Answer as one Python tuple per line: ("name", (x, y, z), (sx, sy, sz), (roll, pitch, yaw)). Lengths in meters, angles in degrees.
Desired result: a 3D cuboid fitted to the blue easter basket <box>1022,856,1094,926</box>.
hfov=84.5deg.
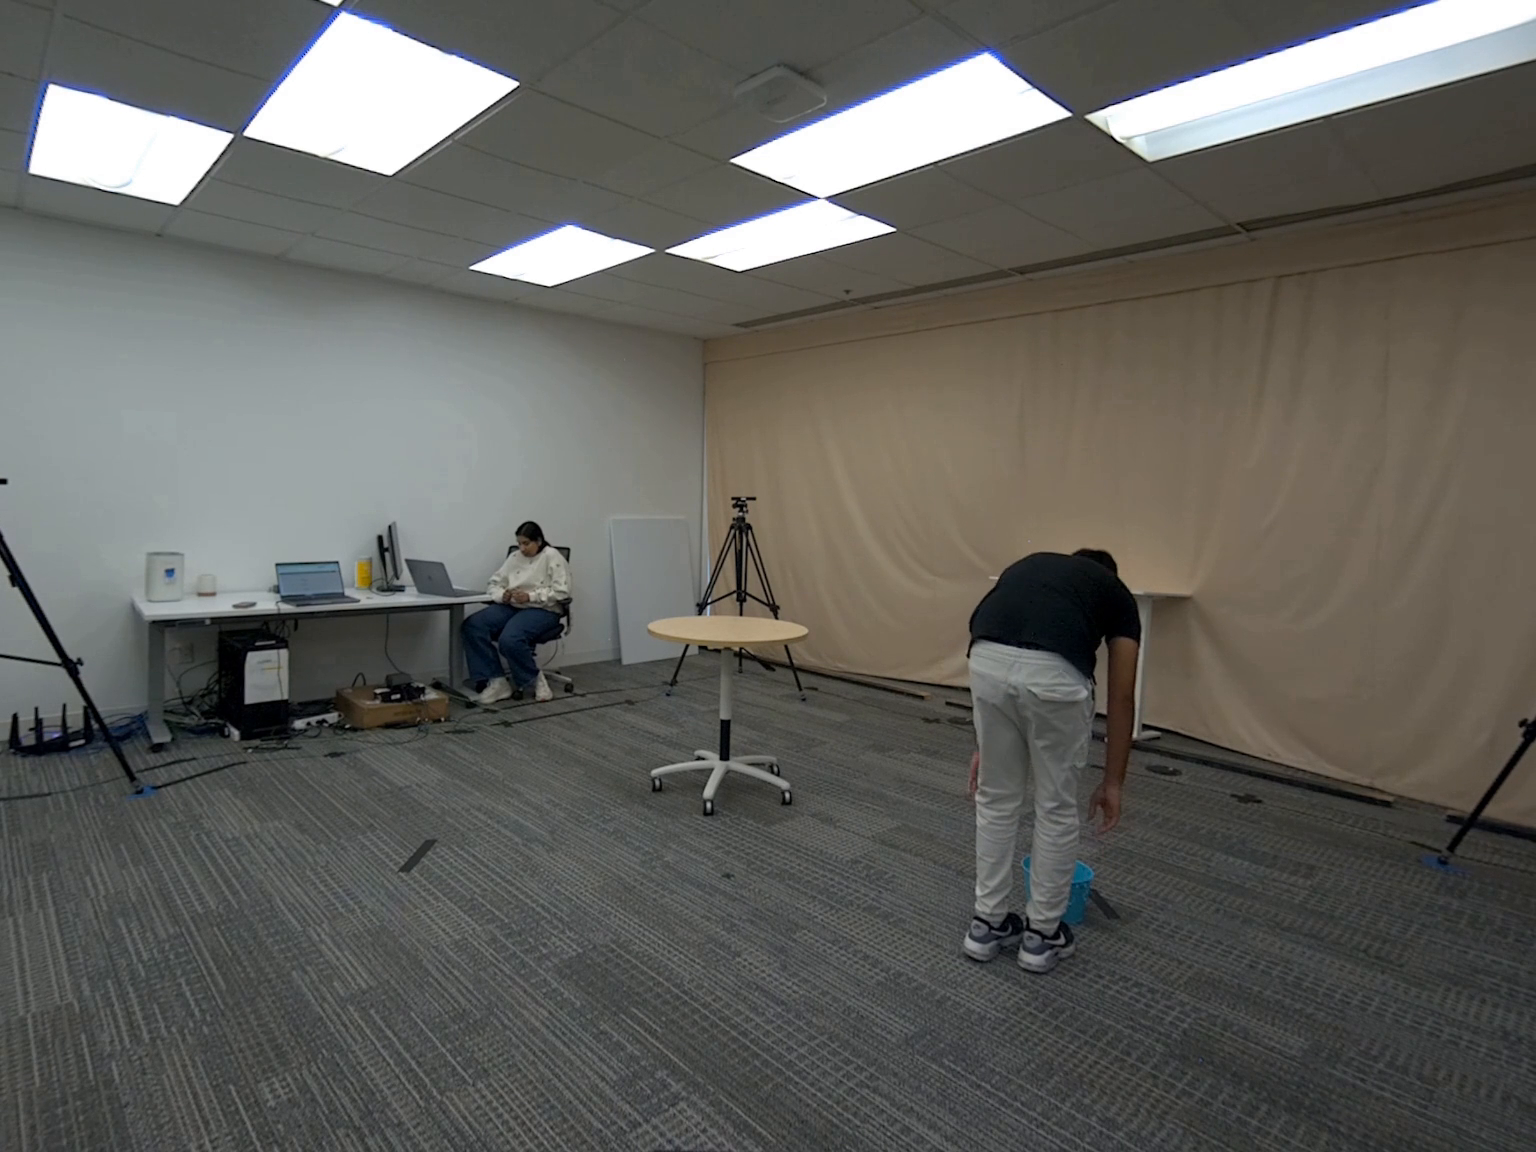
("blue easter basket", (0.986, 1.077, 2.899), (0.243, 0.155, 0.244), (1, 4, -1))
